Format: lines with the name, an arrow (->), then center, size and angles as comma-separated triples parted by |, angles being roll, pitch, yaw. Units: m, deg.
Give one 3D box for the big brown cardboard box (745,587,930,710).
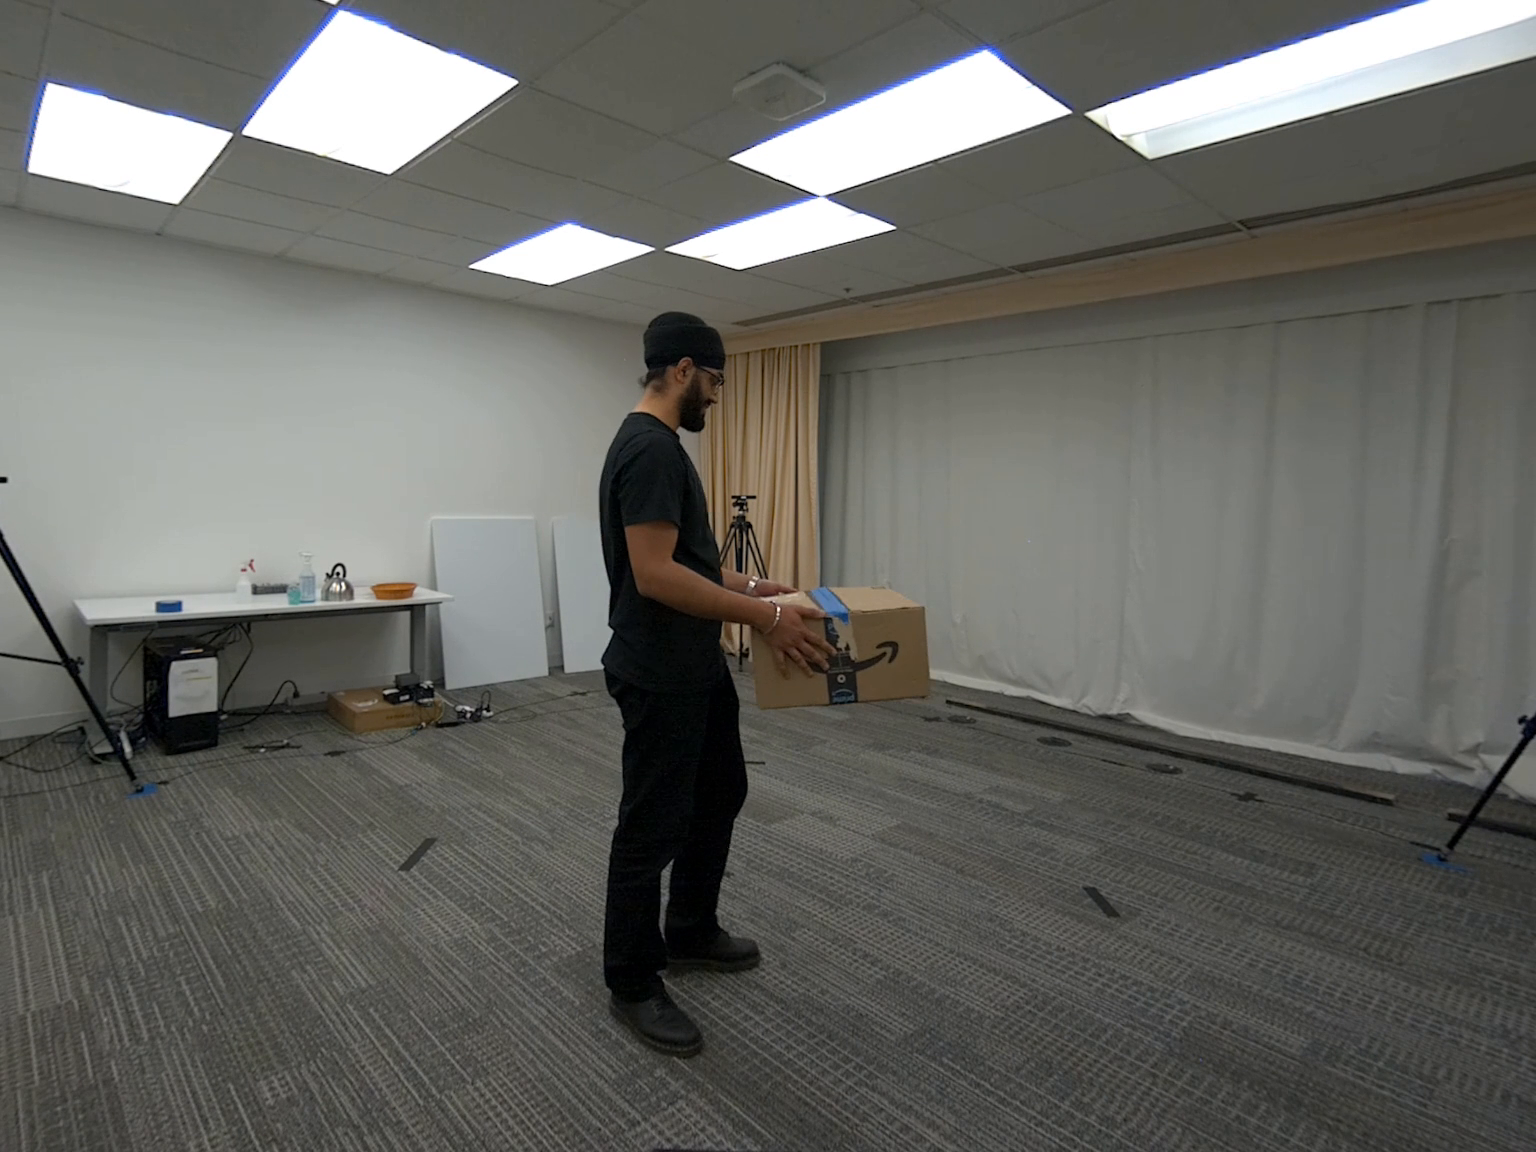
big brown cardboard box -> 0.154, 0.170, 2.269 | 0.418, 0.232, 0.590 | -3, 5, 0
